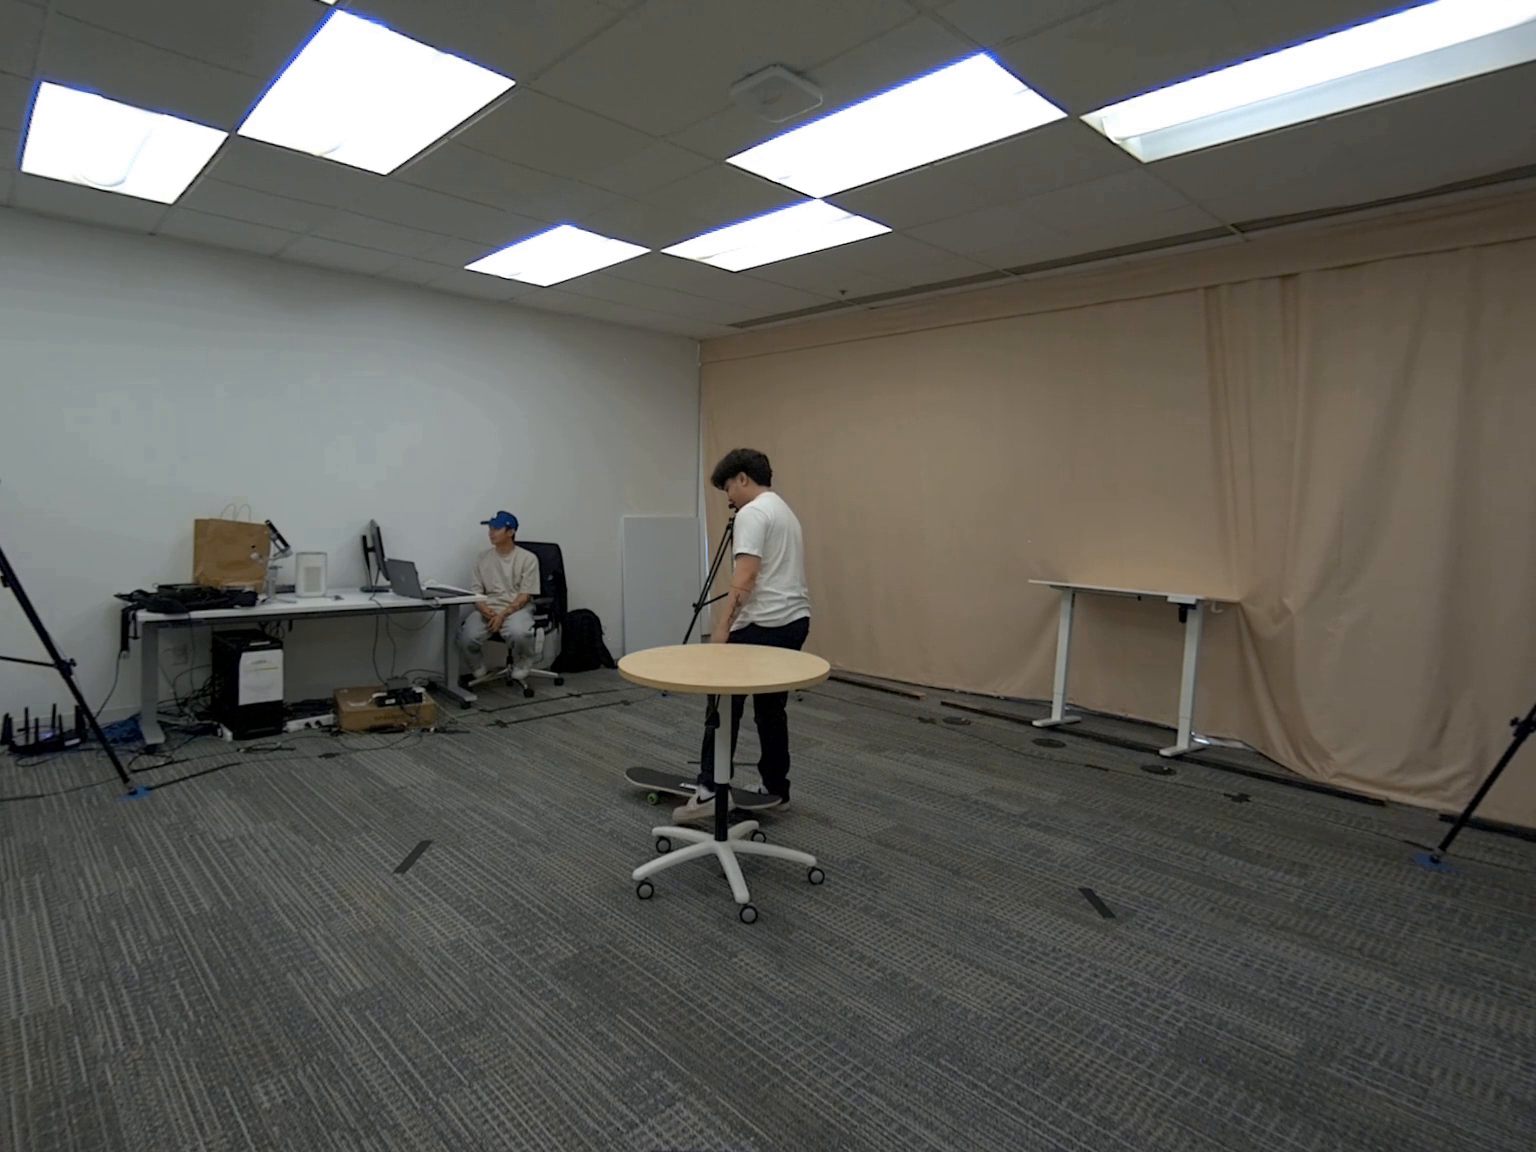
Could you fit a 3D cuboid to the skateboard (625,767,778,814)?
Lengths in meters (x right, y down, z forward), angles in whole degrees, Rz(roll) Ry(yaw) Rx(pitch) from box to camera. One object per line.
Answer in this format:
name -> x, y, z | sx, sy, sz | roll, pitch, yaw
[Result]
skateboard -> -0.318, 0.990, 3.796 | 0.802, 0.110, 0.190 | 5, 5, 27
